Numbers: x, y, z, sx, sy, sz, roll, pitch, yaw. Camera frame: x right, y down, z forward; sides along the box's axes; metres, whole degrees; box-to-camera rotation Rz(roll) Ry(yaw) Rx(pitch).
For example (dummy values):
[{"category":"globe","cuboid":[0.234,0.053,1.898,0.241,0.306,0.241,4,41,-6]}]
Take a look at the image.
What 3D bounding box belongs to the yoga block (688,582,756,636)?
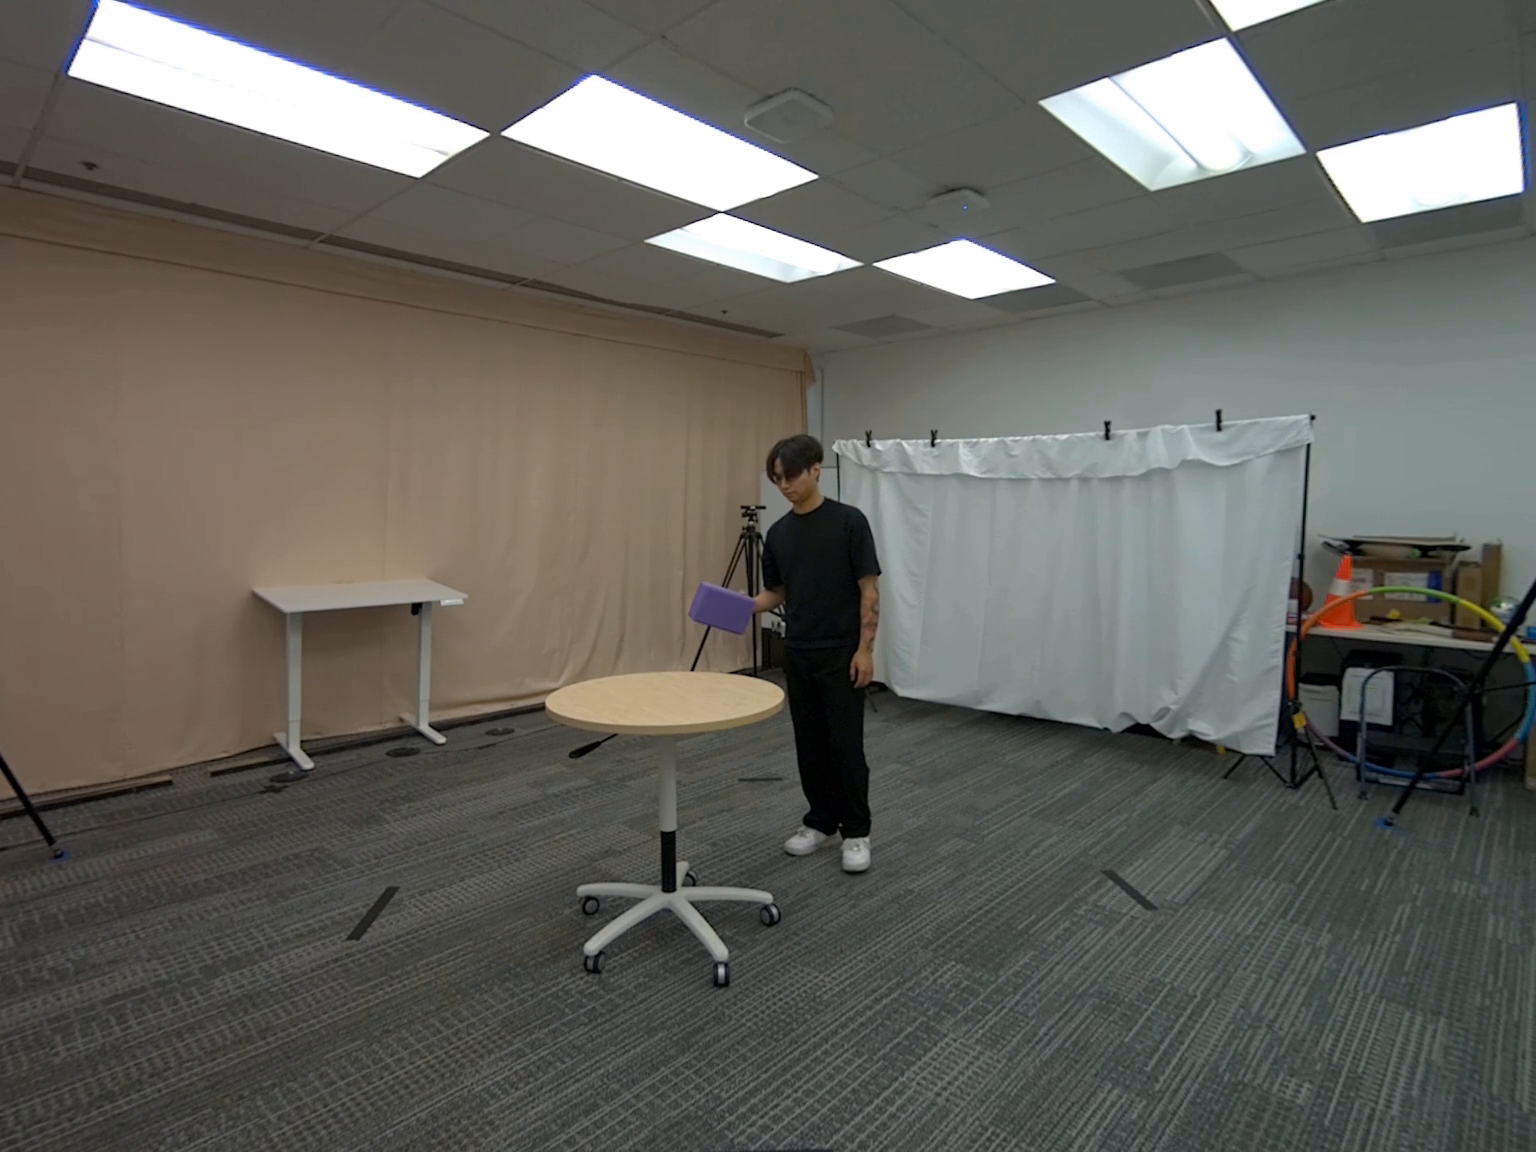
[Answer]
[{"category":"yoga block","cuboid":[-0.174,0.128,3.247,0.224,0.149,0.078,20,6,-20]}]
